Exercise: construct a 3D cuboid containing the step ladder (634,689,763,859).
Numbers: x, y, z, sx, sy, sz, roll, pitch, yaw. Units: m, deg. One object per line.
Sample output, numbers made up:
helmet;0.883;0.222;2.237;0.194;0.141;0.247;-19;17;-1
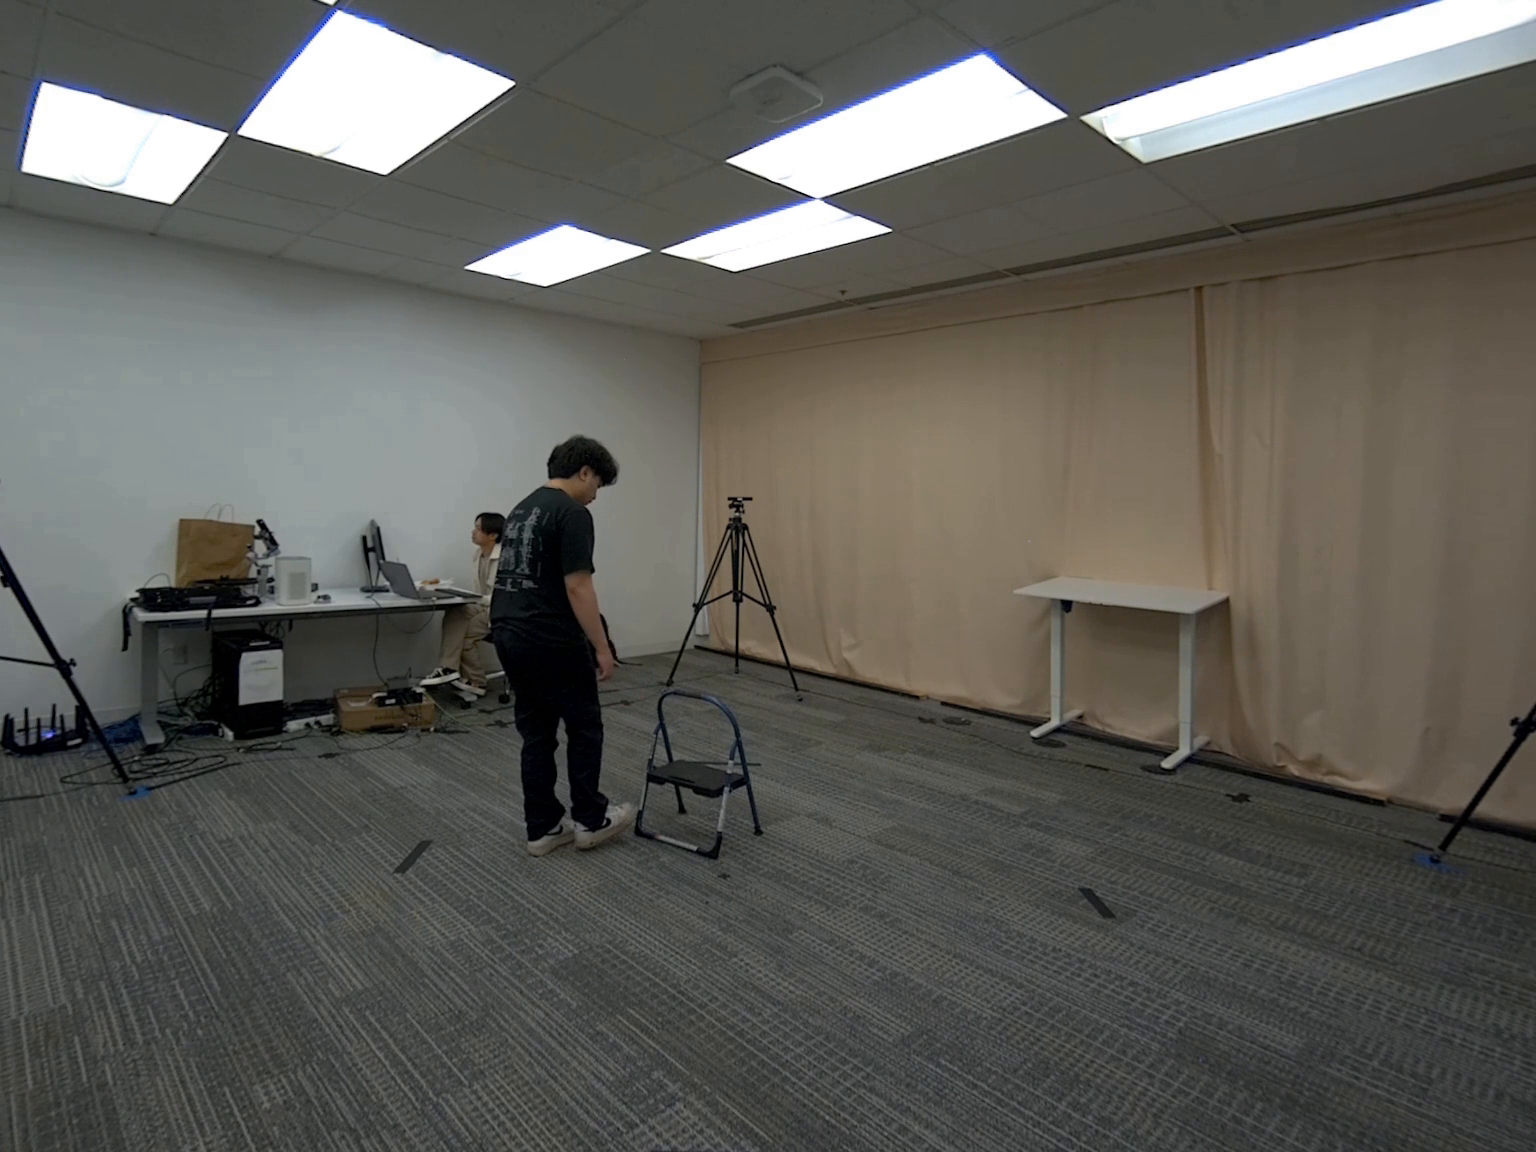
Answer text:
step ladder;-0.284;0.771;3.484;0.440;0.605;0.342;4;3;31
